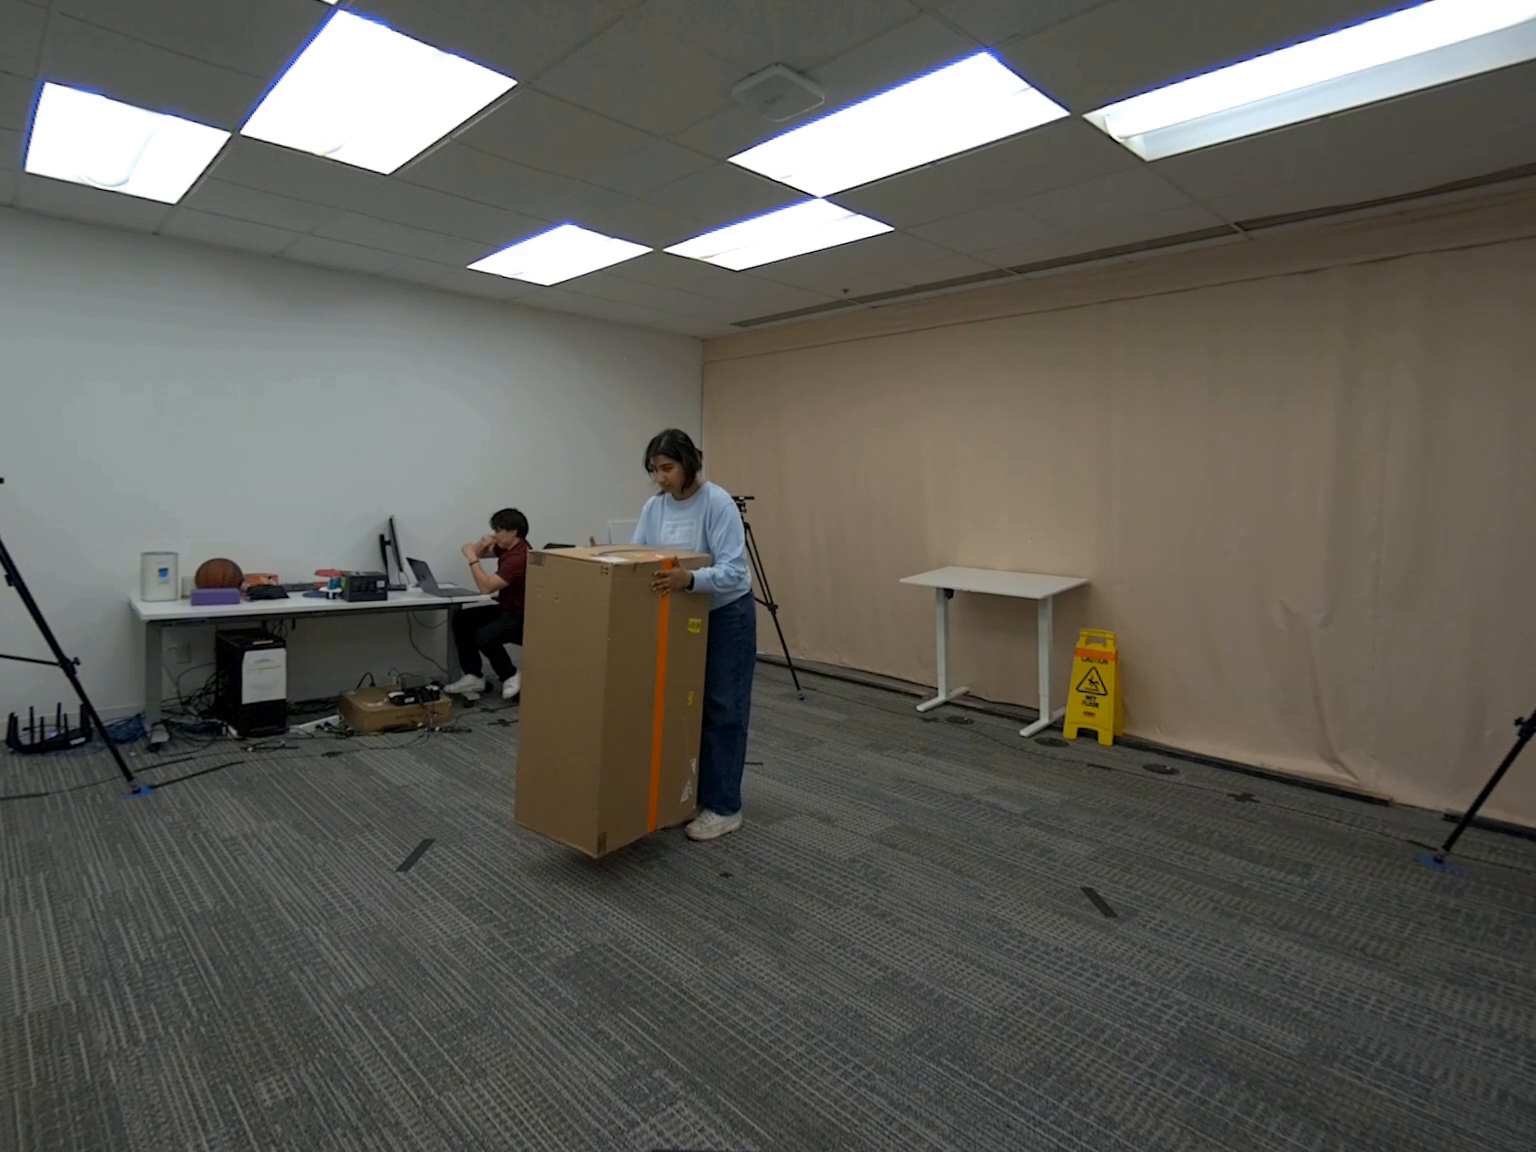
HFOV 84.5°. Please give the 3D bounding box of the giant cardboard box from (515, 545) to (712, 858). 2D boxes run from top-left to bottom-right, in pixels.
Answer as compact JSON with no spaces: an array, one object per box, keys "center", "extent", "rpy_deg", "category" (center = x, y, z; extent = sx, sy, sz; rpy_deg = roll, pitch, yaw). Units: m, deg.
[{"center":[-0.586,0.426,3.177],"extent":[0.458,1.023,0.571],"rpy_deg":[8,7,34],"category":"giant cardboard box"}]
